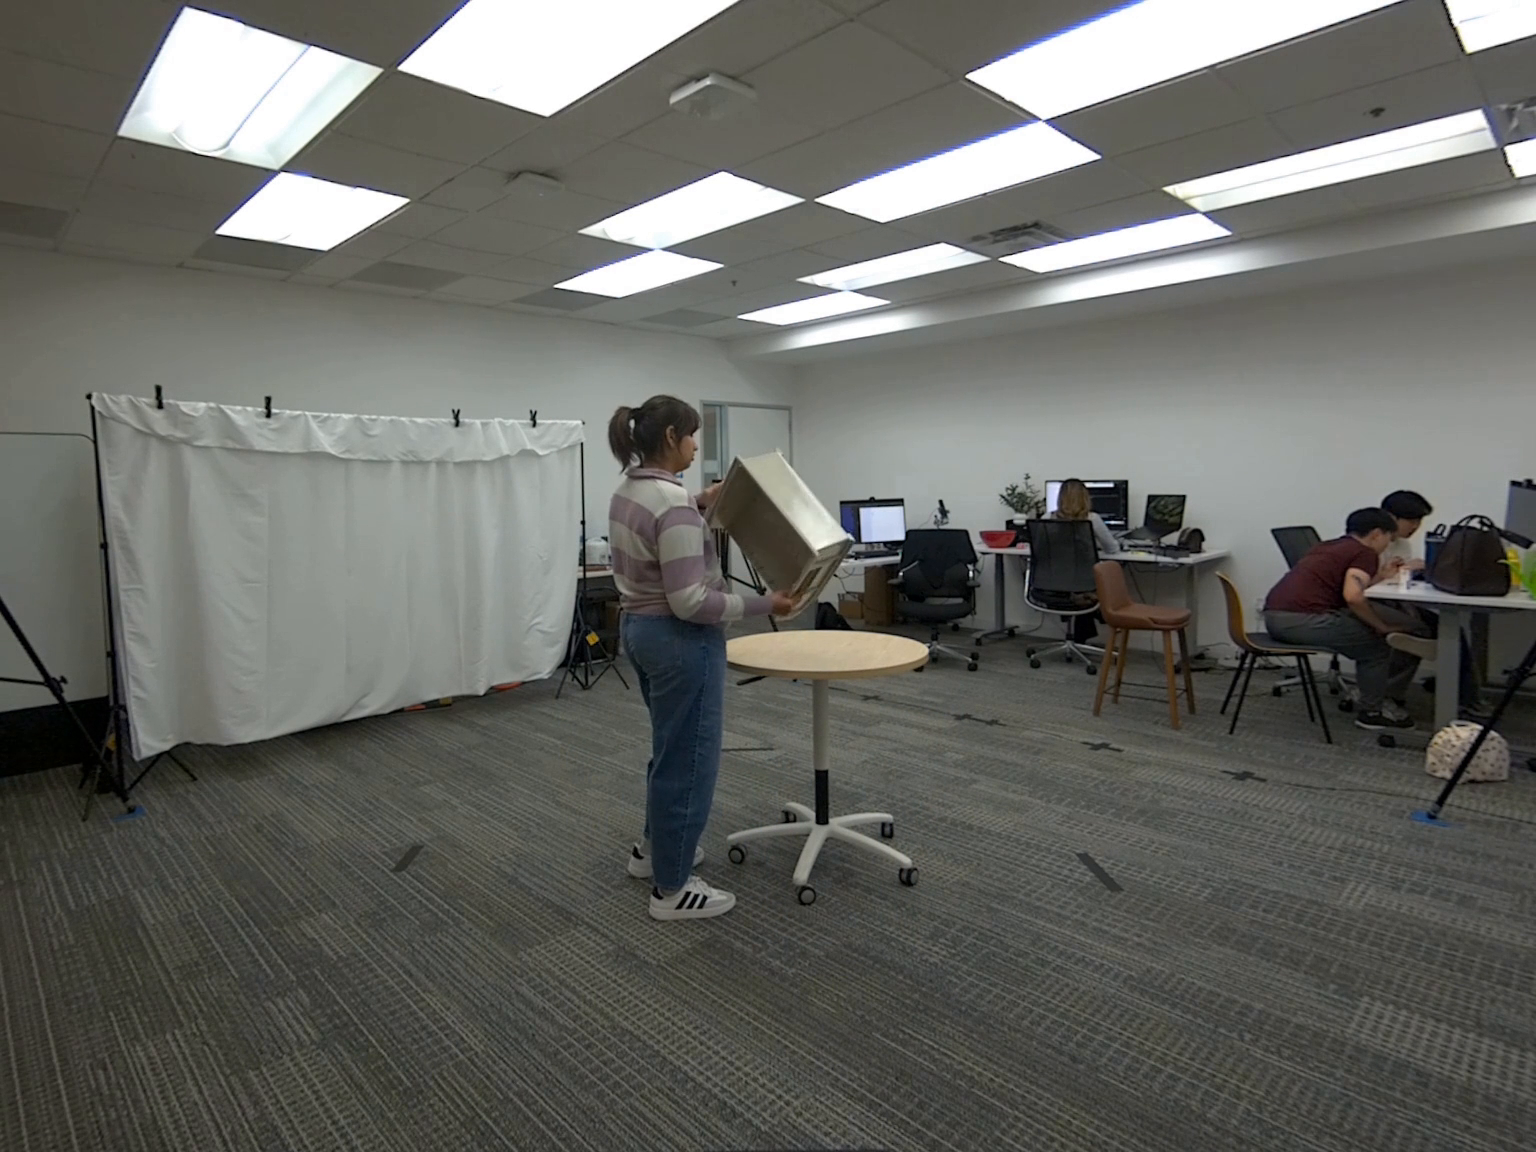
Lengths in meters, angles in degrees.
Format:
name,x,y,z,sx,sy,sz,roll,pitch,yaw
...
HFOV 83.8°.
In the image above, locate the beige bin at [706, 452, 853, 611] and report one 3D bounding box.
name,x,y,z,sx,sy,sz,roll,pitch,yaw
beige bin,0.020,-0.127,2.748,0.185,0.435,0.373,-18,-30,-36
